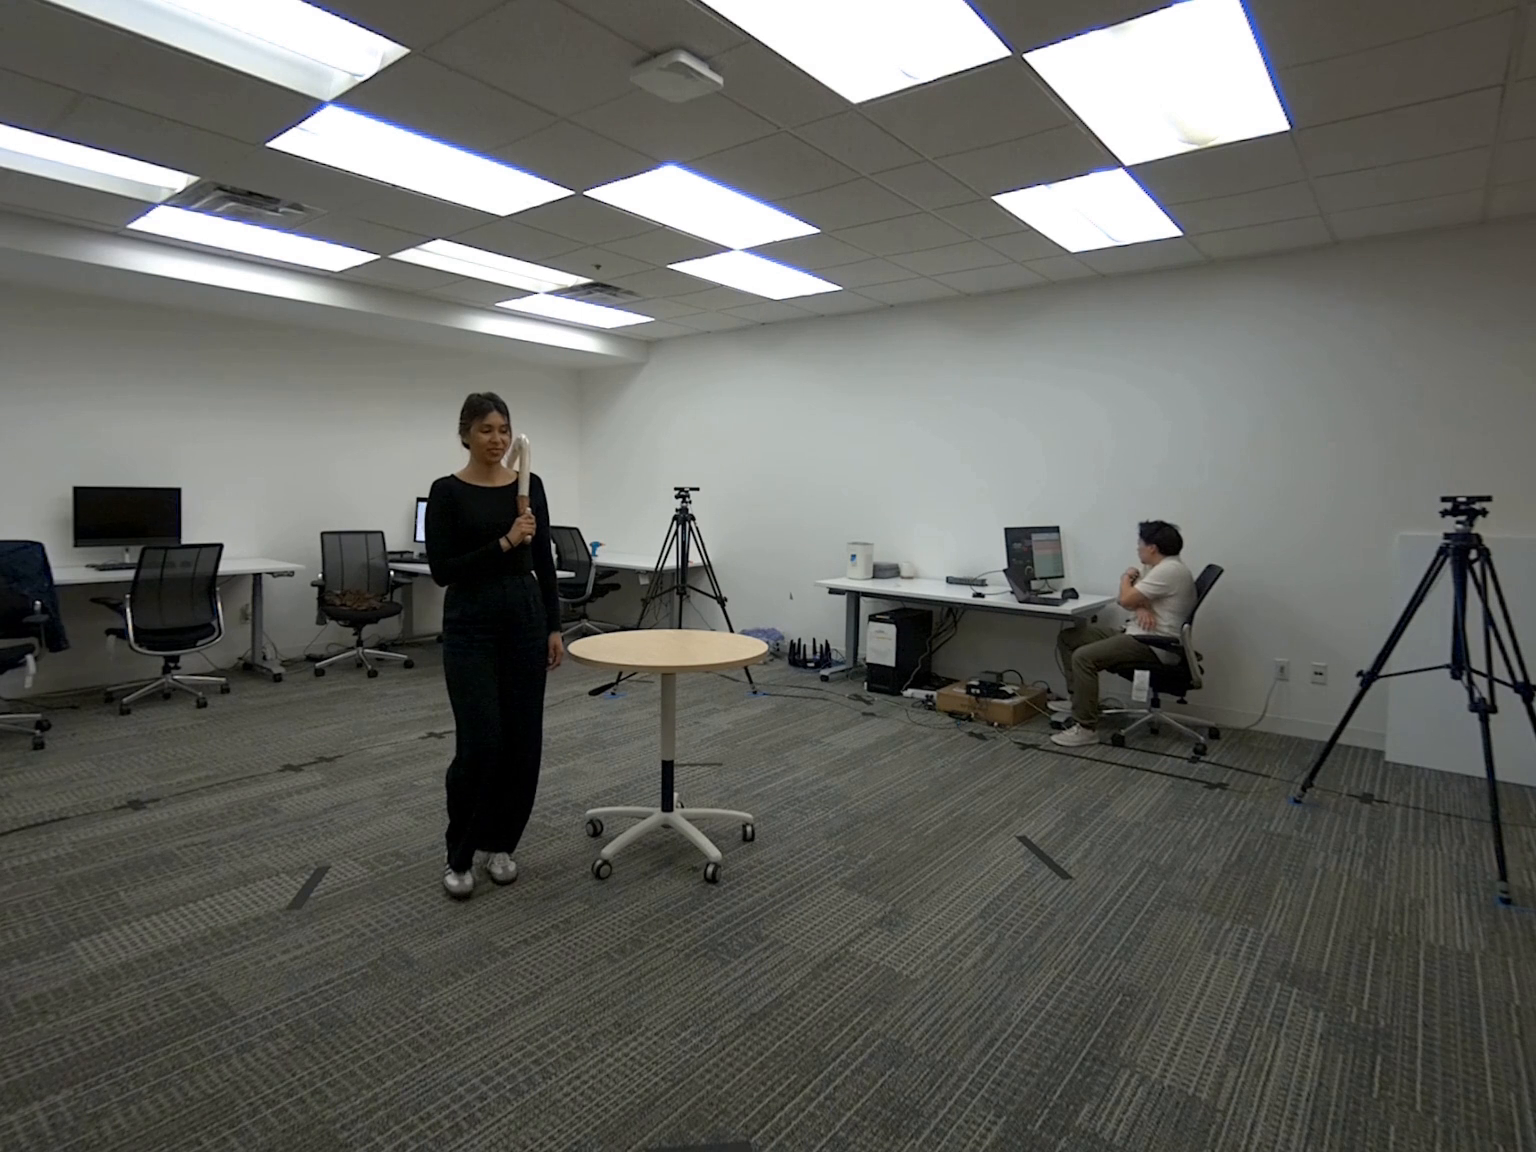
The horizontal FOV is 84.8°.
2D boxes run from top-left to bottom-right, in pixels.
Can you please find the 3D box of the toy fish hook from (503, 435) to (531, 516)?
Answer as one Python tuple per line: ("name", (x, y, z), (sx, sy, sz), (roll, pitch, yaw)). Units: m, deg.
("toy fish hook", (-0.930, -0.300, 3.093), (0.047, 0.524, 0.224), (10, -41, -29))
